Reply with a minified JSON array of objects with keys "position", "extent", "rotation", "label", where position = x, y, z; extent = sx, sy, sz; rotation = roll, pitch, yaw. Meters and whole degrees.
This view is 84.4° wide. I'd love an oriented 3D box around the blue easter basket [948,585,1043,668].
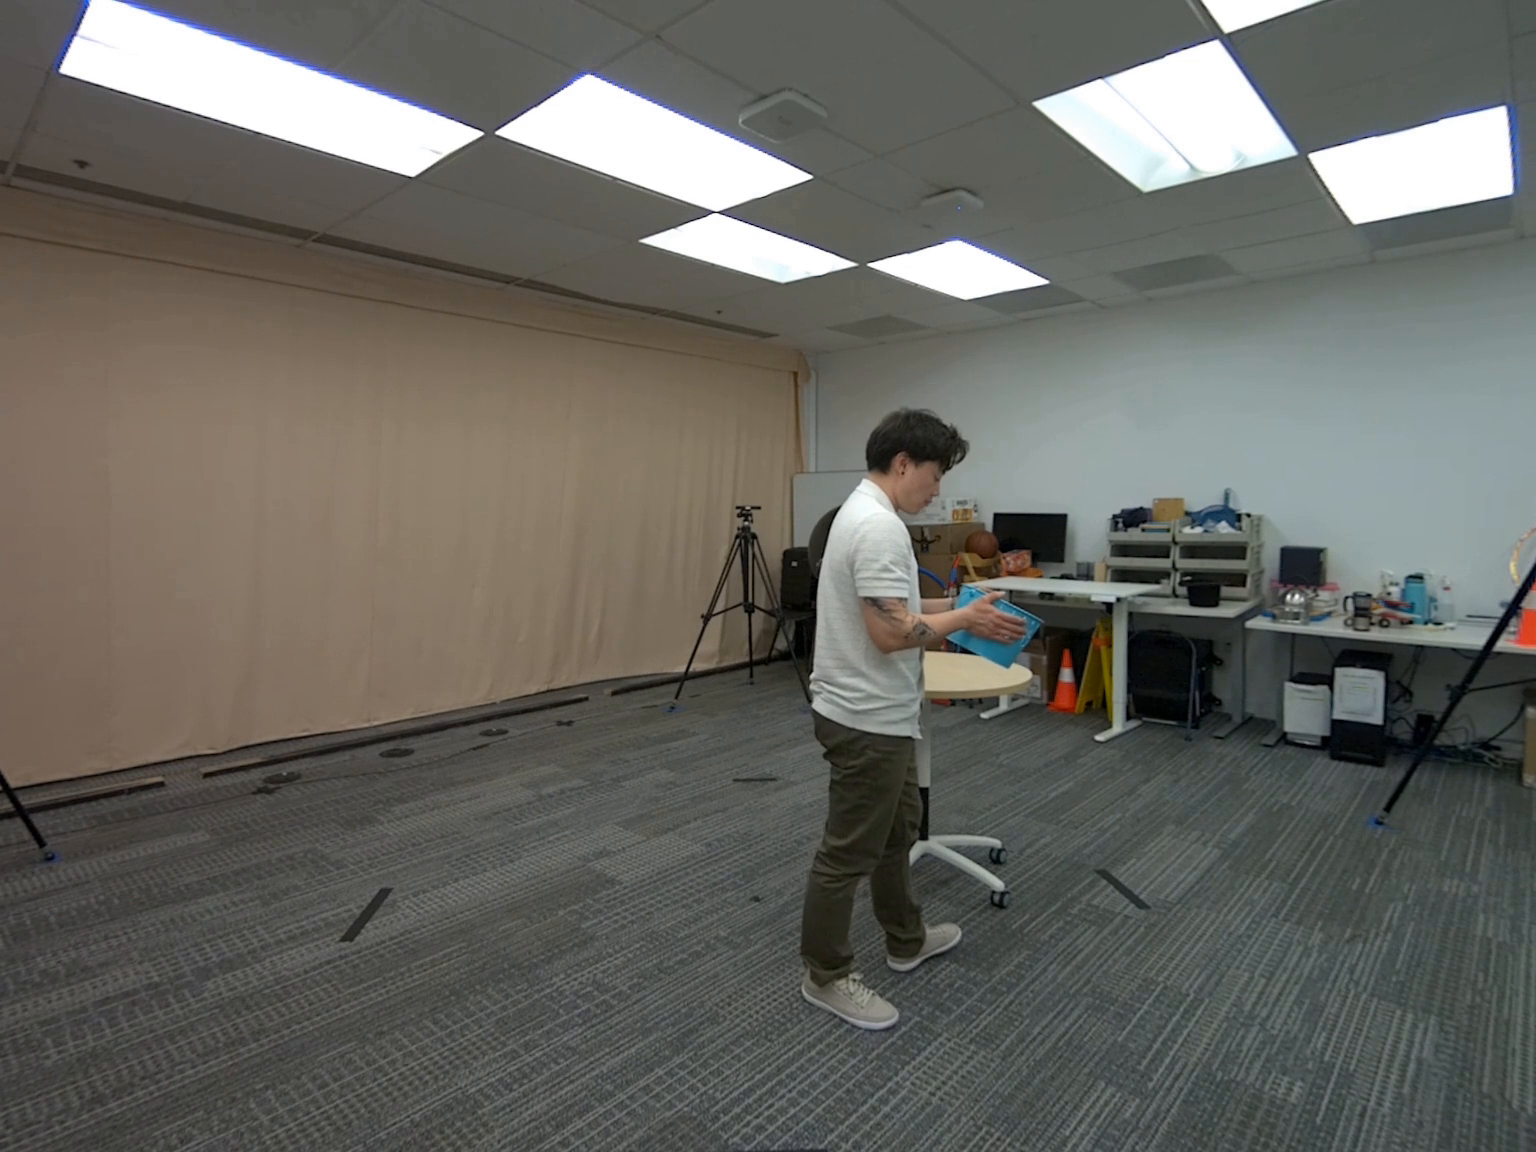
[{"position":[0.615,0.138,2.260],"extent":[0.243,0.156,0.244],"rotation":[26,3,-4],"label":"blue easter basket"}]
